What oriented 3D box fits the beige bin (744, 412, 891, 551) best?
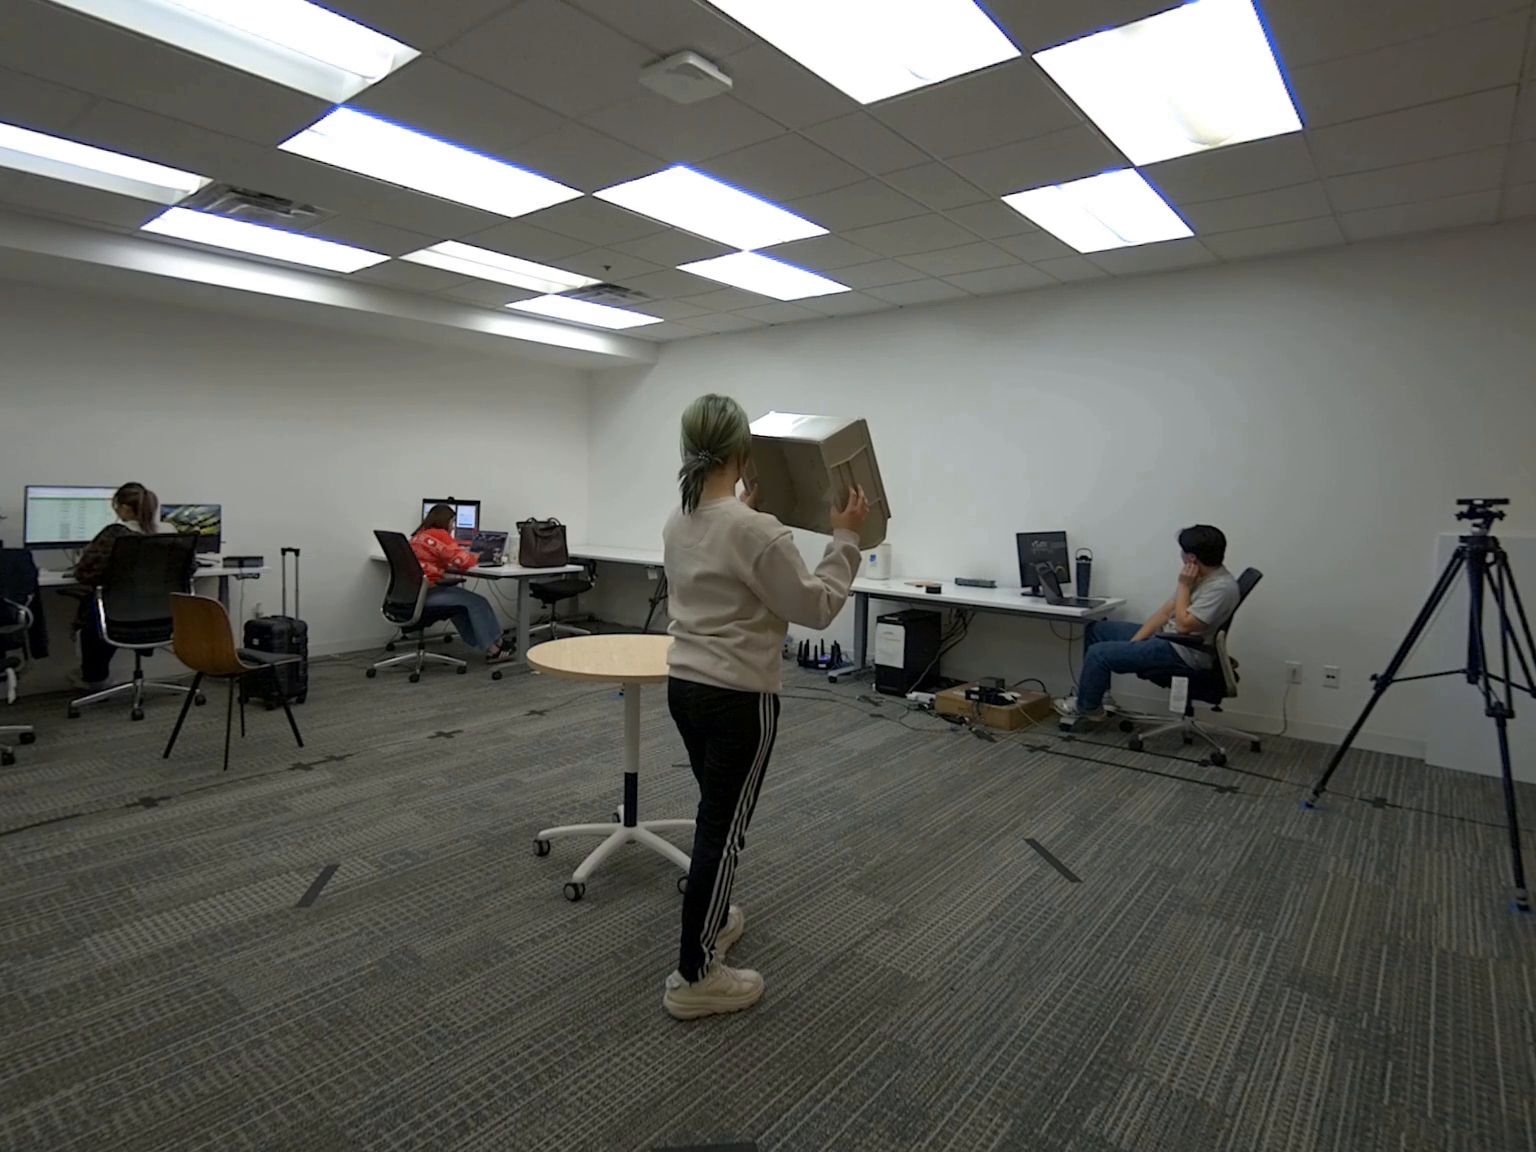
[{"bbox_3d":[0.115,-0.280,2.508,0.187,0.367,0.438,-31,27,-29],"label":"beige bin"}]
